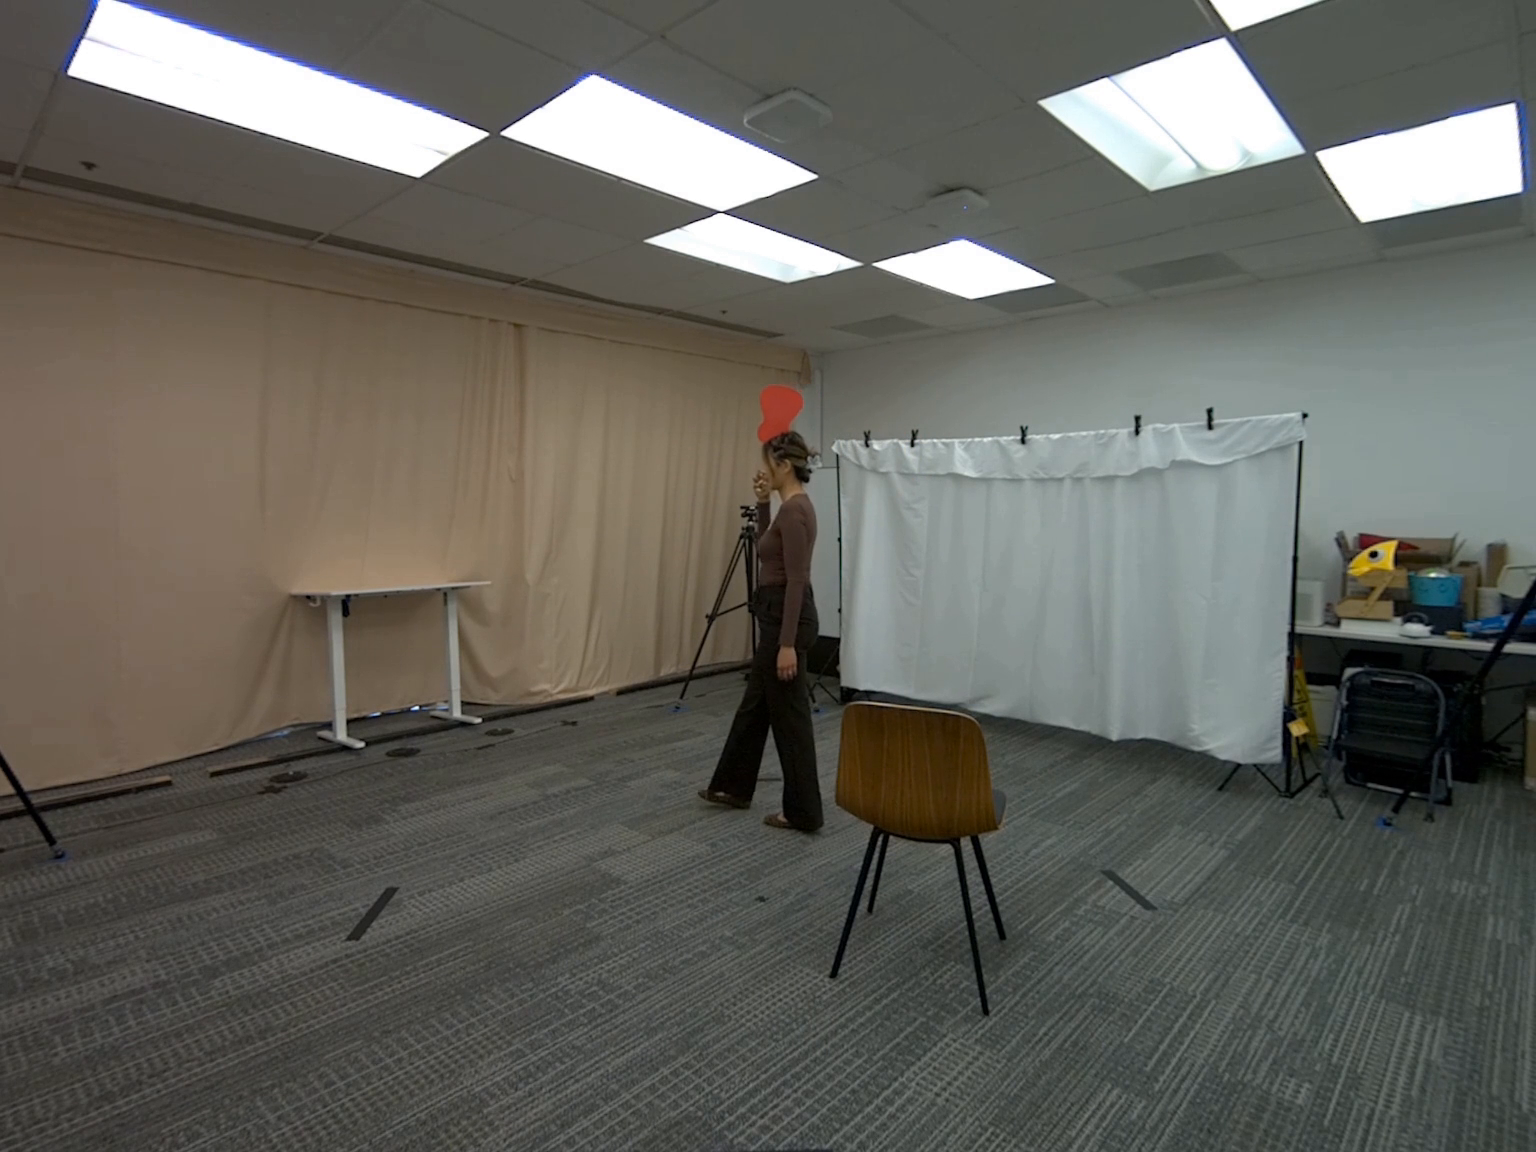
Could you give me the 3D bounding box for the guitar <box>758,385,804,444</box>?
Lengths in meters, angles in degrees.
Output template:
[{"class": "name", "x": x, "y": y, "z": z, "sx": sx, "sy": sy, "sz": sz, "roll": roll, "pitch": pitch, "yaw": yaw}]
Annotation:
[{"class": "guitar", "x": 0.053, "y": -0.601, "z": 3.801, "sx": 0.195, "sy": 0.496, "sz": 0.070, "roll": 3, "pitch": 6, "yaw": 7}]
